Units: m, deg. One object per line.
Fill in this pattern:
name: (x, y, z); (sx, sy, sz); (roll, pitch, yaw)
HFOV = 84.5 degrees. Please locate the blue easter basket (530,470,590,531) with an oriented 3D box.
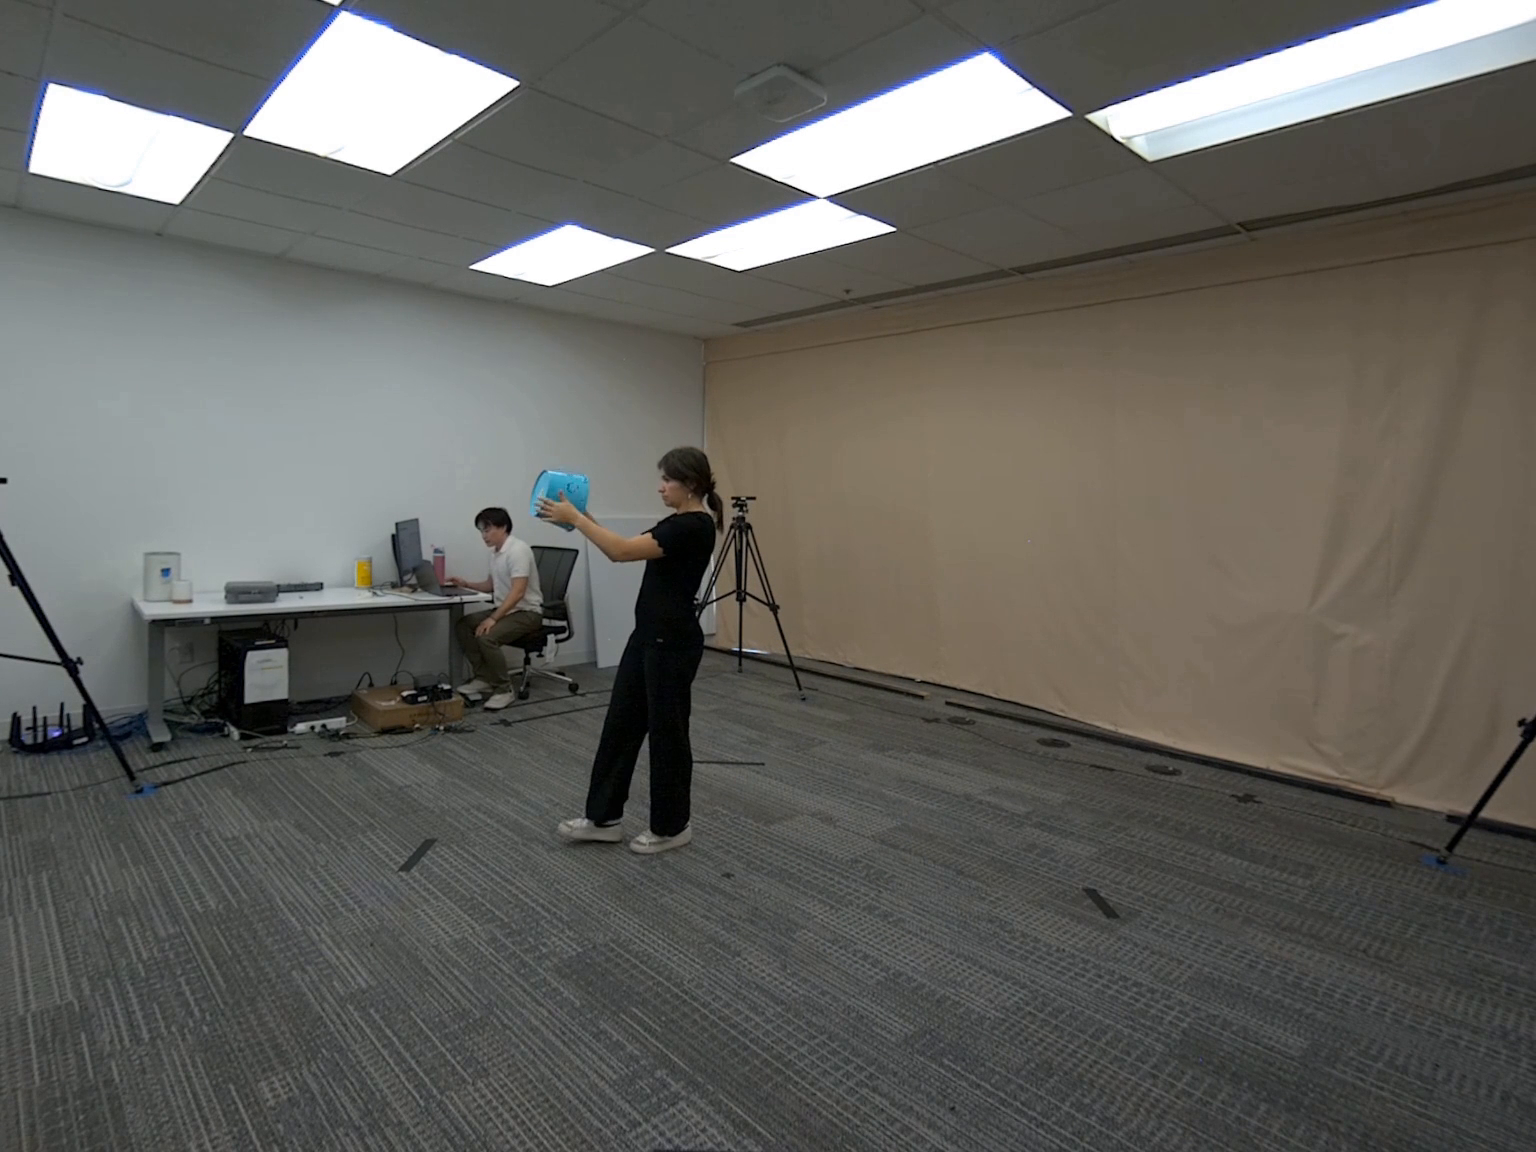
blue easter basket: (-0.815, -0.302, 3.238); (0.152, 0.244, 0.249); (15, -4, -31)
